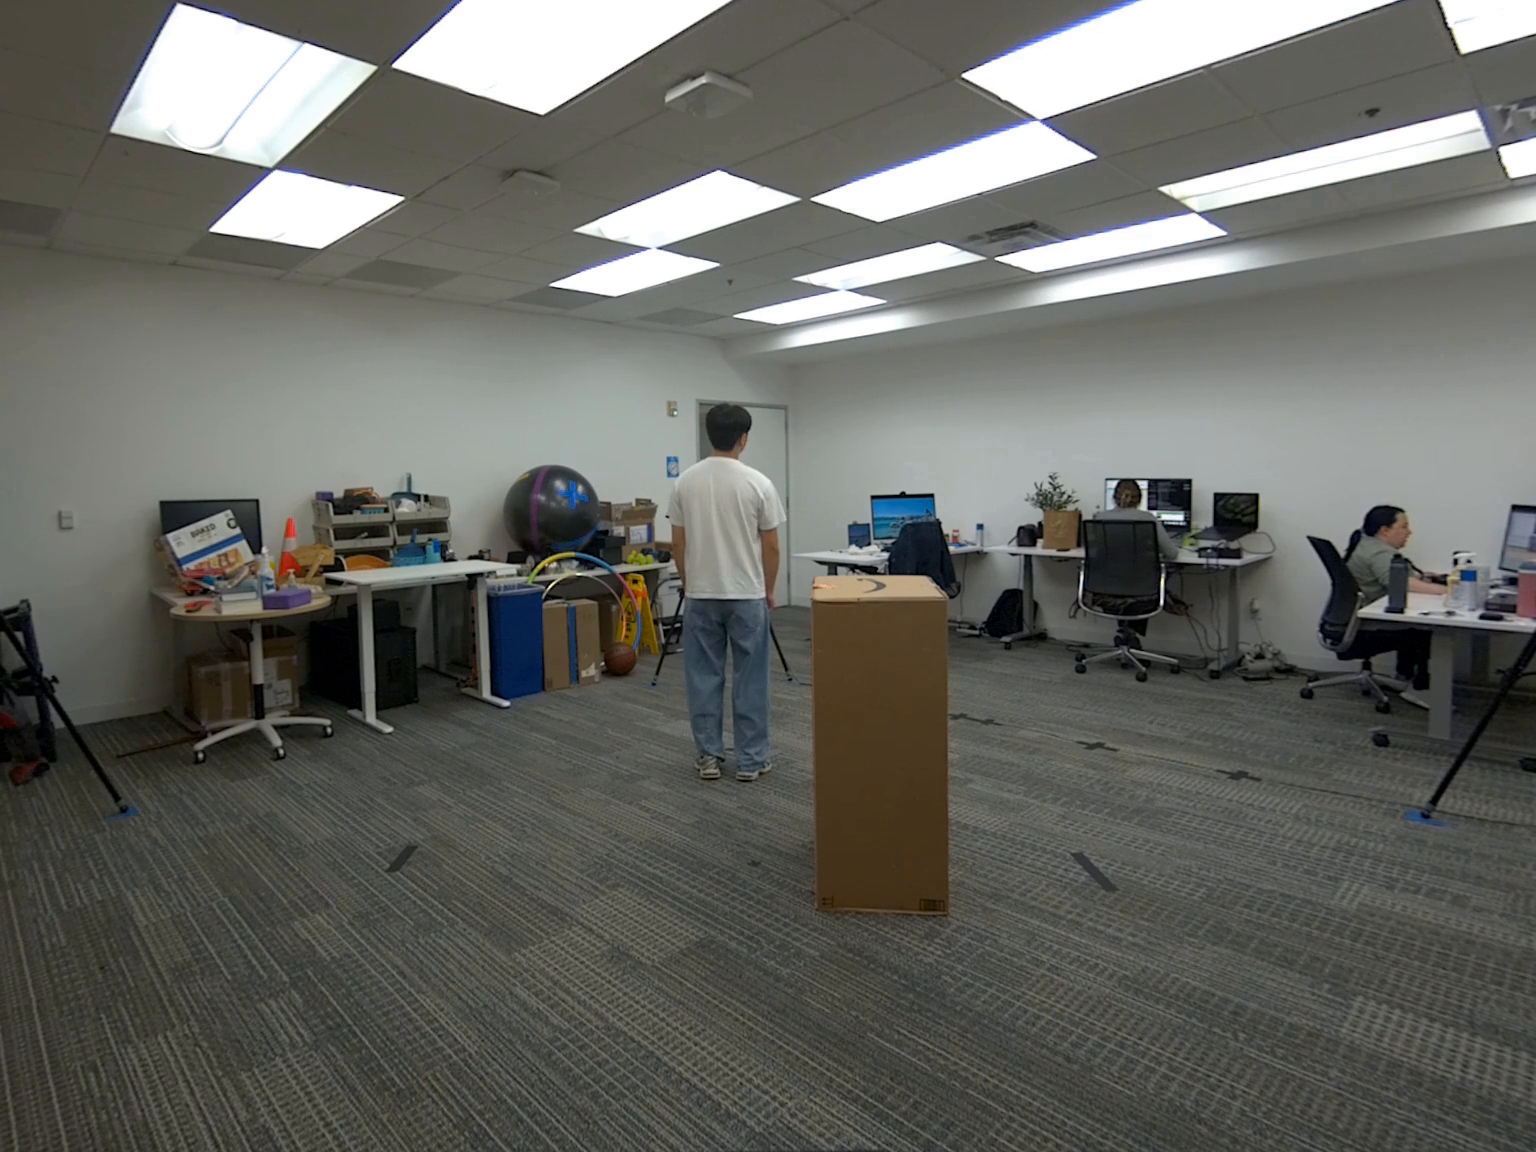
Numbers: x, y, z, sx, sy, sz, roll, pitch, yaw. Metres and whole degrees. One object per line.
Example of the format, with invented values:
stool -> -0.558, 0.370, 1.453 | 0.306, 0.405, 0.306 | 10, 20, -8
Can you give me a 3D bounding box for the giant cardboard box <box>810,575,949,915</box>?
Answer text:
giant cardboard box -> 0.384, 0.543, 2.978 | 0.429, 1.022, 0.576 | -1, 4, 6
